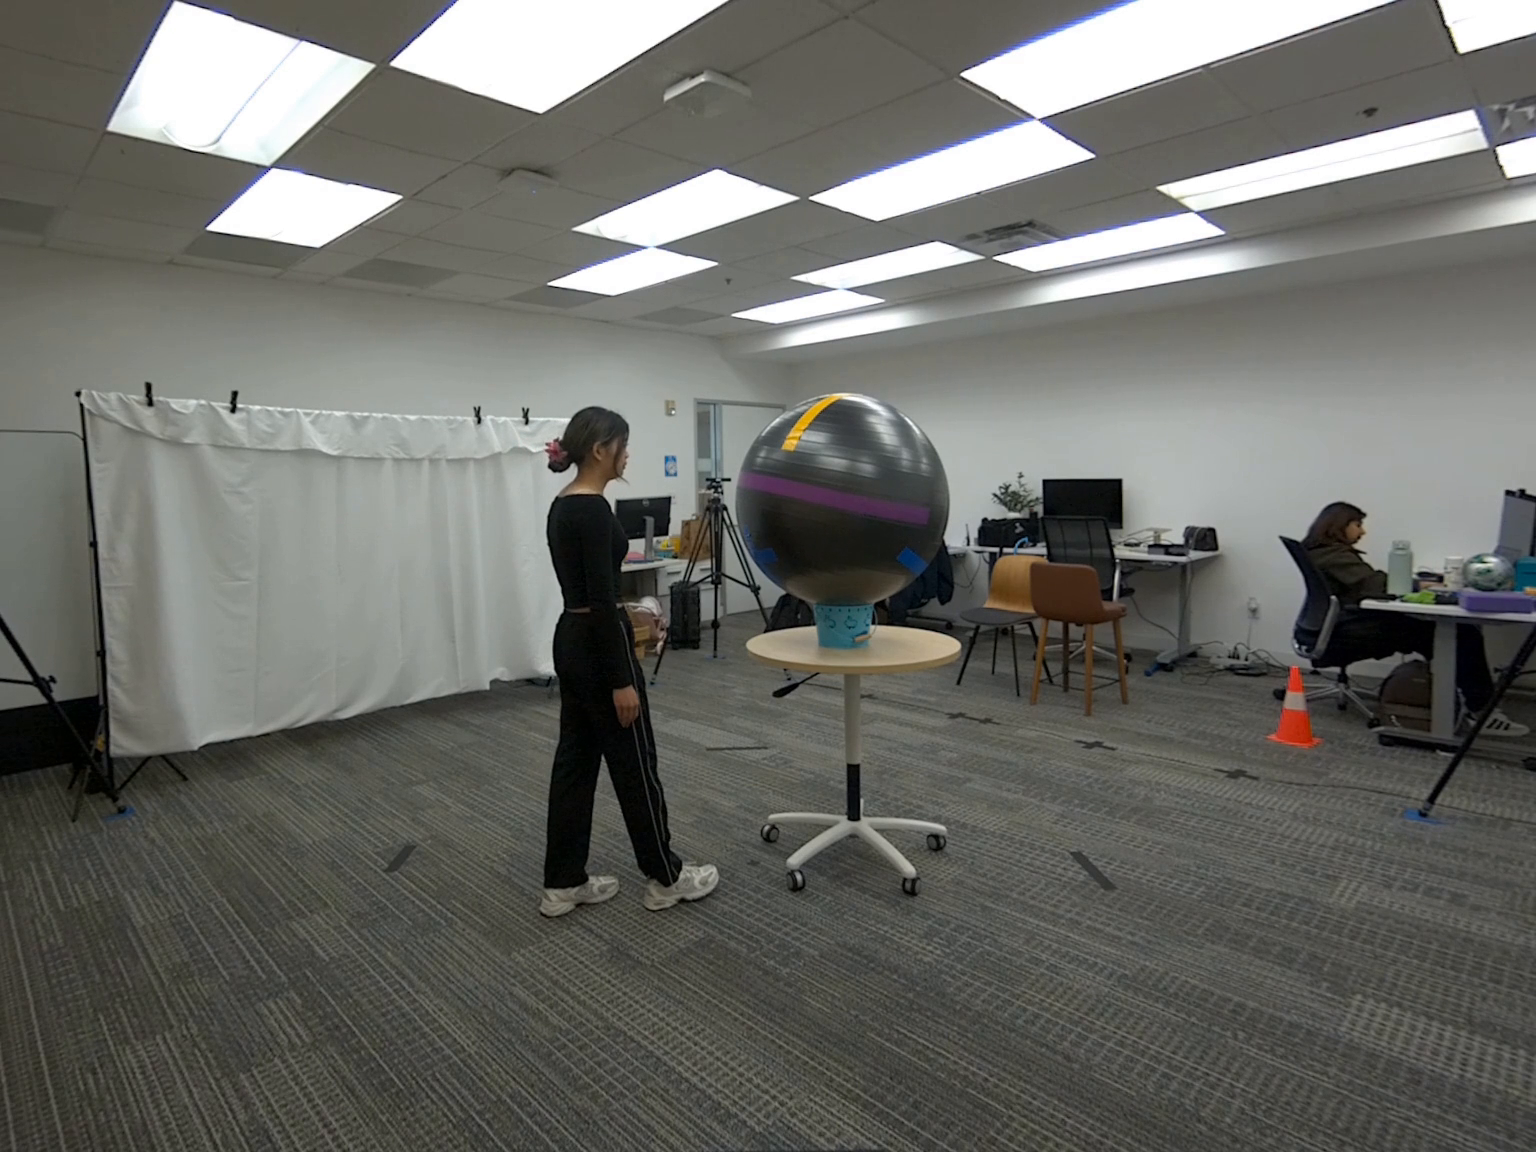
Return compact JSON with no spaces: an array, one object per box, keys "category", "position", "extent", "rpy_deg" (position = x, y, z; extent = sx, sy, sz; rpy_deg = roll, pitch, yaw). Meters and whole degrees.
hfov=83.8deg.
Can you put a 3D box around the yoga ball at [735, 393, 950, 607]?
[{"category":"yoga ball","position":[0.264,-0.259,3.057],"extent":[0.757,0.755,0.762],"rpy_deg":[-1,5,-2]}]
